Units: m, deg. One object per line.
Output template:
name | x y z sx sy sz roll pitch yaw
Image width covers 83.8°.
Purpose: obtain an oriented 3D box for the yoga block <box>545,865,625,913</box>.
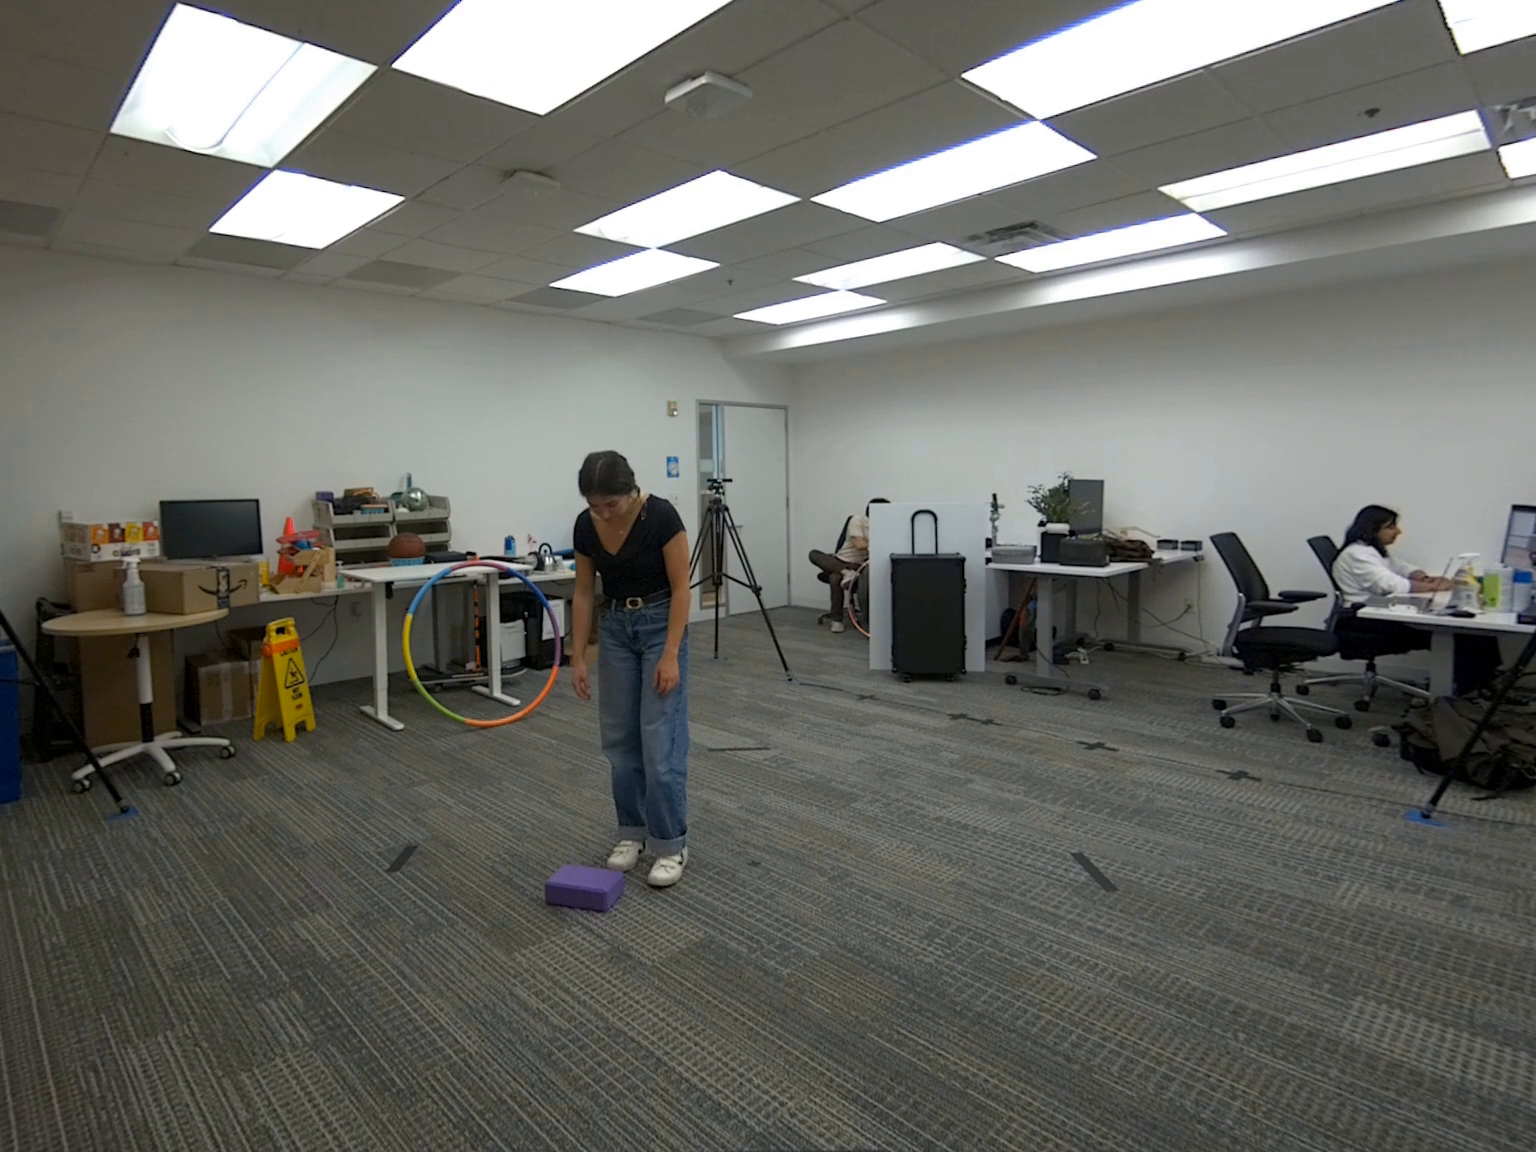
yoga block | -0.608 1.041 2.871 0.233 0.076 0.147 2 6 16
